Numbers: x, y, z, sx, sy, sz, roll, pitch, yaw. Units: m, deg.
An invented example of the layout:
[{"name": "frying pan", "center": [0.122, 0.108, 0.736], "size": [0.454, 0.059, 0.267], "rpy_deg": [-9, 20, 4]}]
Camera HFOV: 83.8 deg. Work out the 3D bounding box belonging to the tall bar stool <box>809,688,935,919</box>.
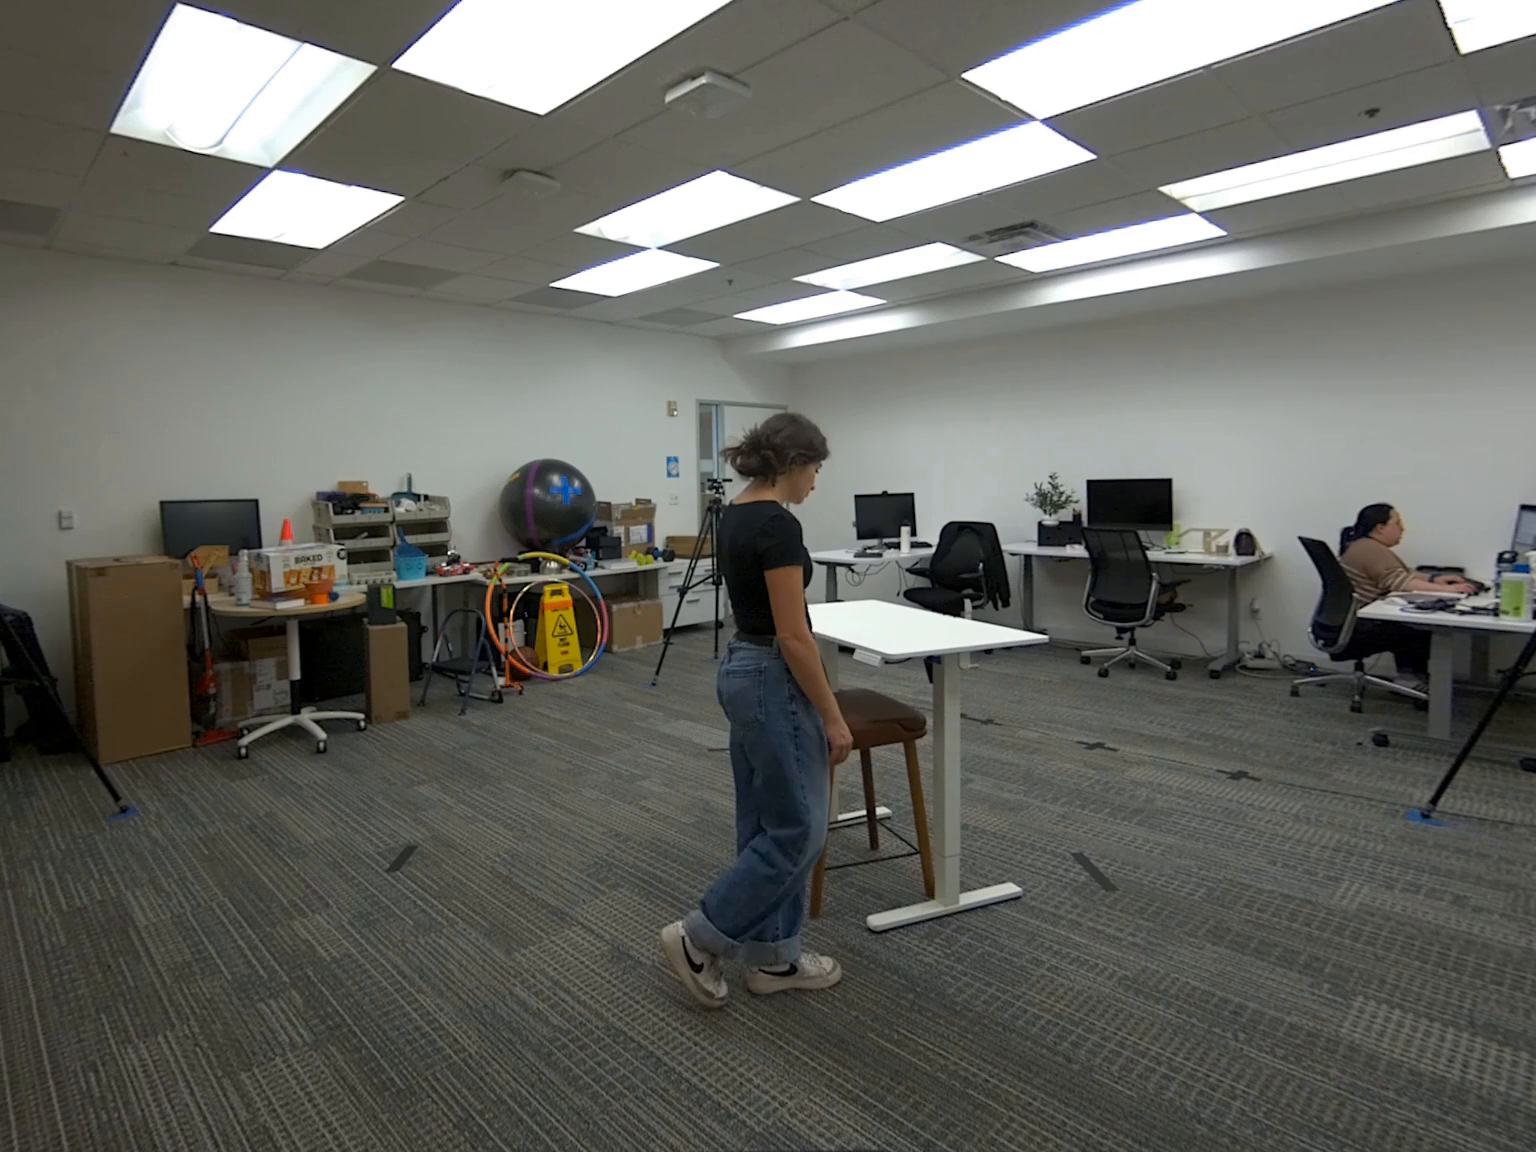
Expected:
[{"name": "tall bar stool", "center": [0.268, 0.635, 2.925], "size": [0.459, 0.885, 0.467], "rpy_deg": [-5, 6, -21]}]
